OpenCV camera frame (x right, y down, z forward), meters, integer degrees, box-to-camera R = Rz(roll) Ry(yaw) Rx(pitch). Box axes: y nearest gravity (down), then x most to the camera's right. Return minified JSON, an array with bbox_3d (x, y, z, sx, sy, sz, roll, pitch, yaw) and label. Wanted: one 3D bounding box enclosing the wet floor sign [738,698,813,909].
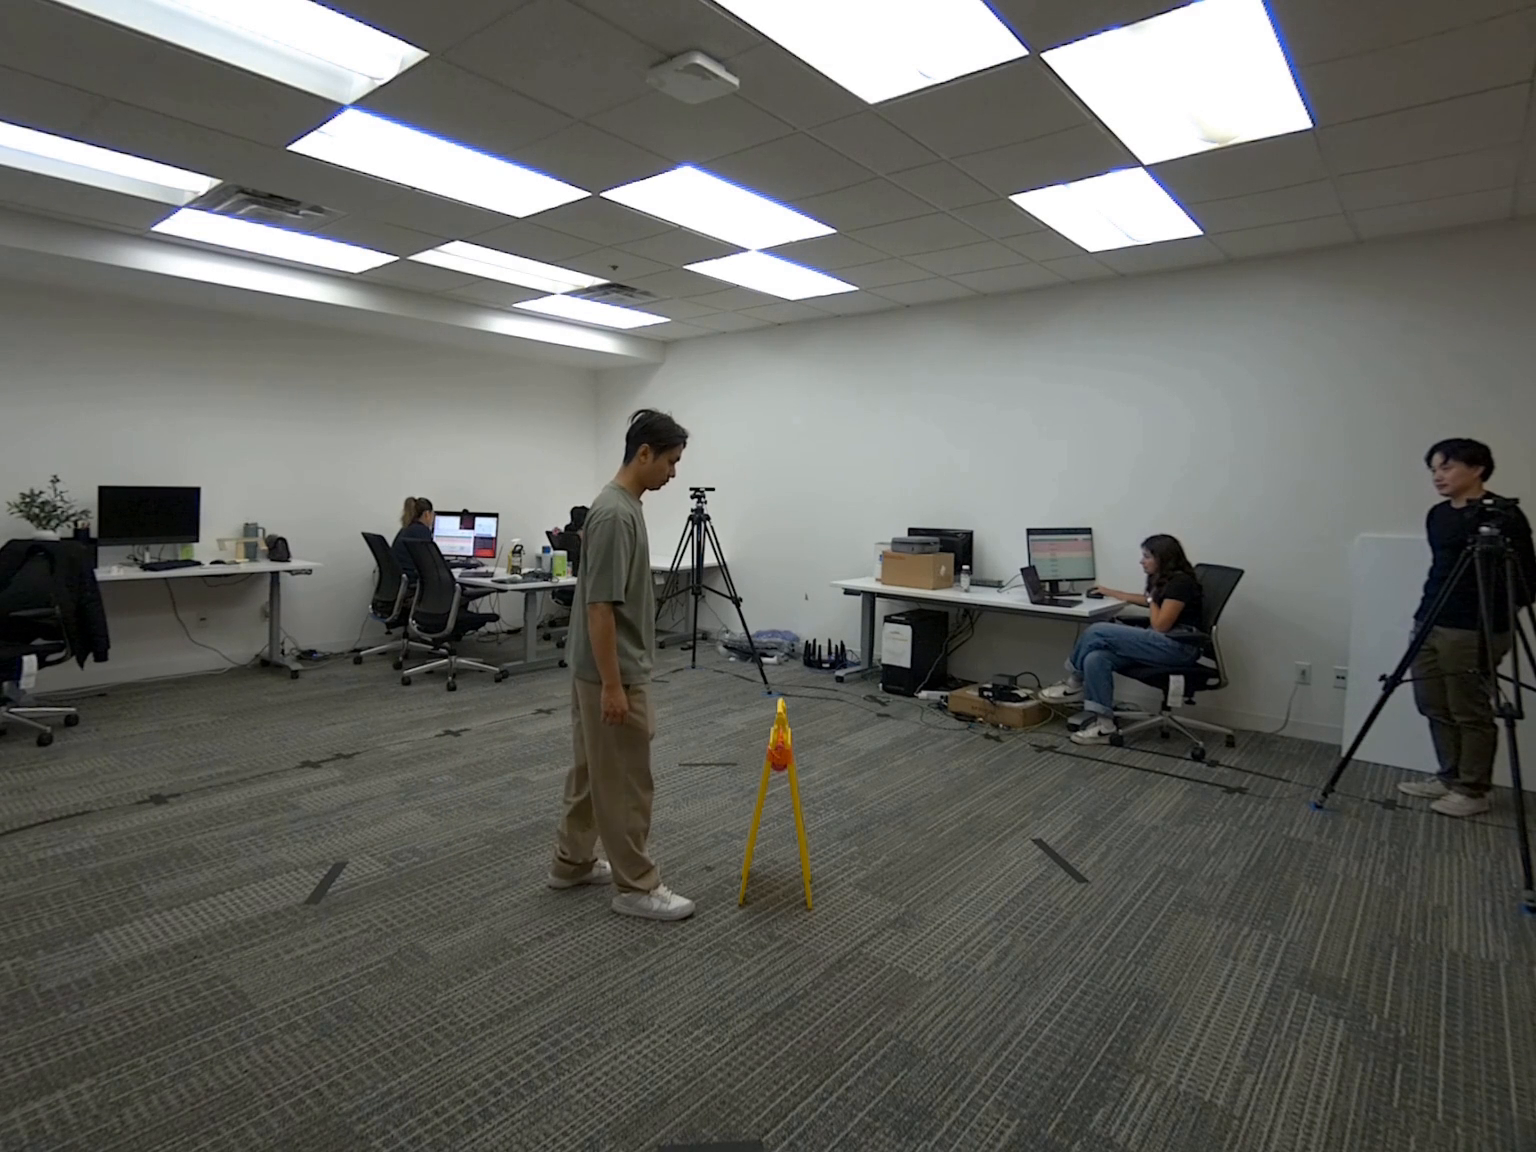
[{"bbox_3d":[0.029,0.767,2.948,0.291,0.644,0.282,3,3,2],"label":"wet floor sign"}]
